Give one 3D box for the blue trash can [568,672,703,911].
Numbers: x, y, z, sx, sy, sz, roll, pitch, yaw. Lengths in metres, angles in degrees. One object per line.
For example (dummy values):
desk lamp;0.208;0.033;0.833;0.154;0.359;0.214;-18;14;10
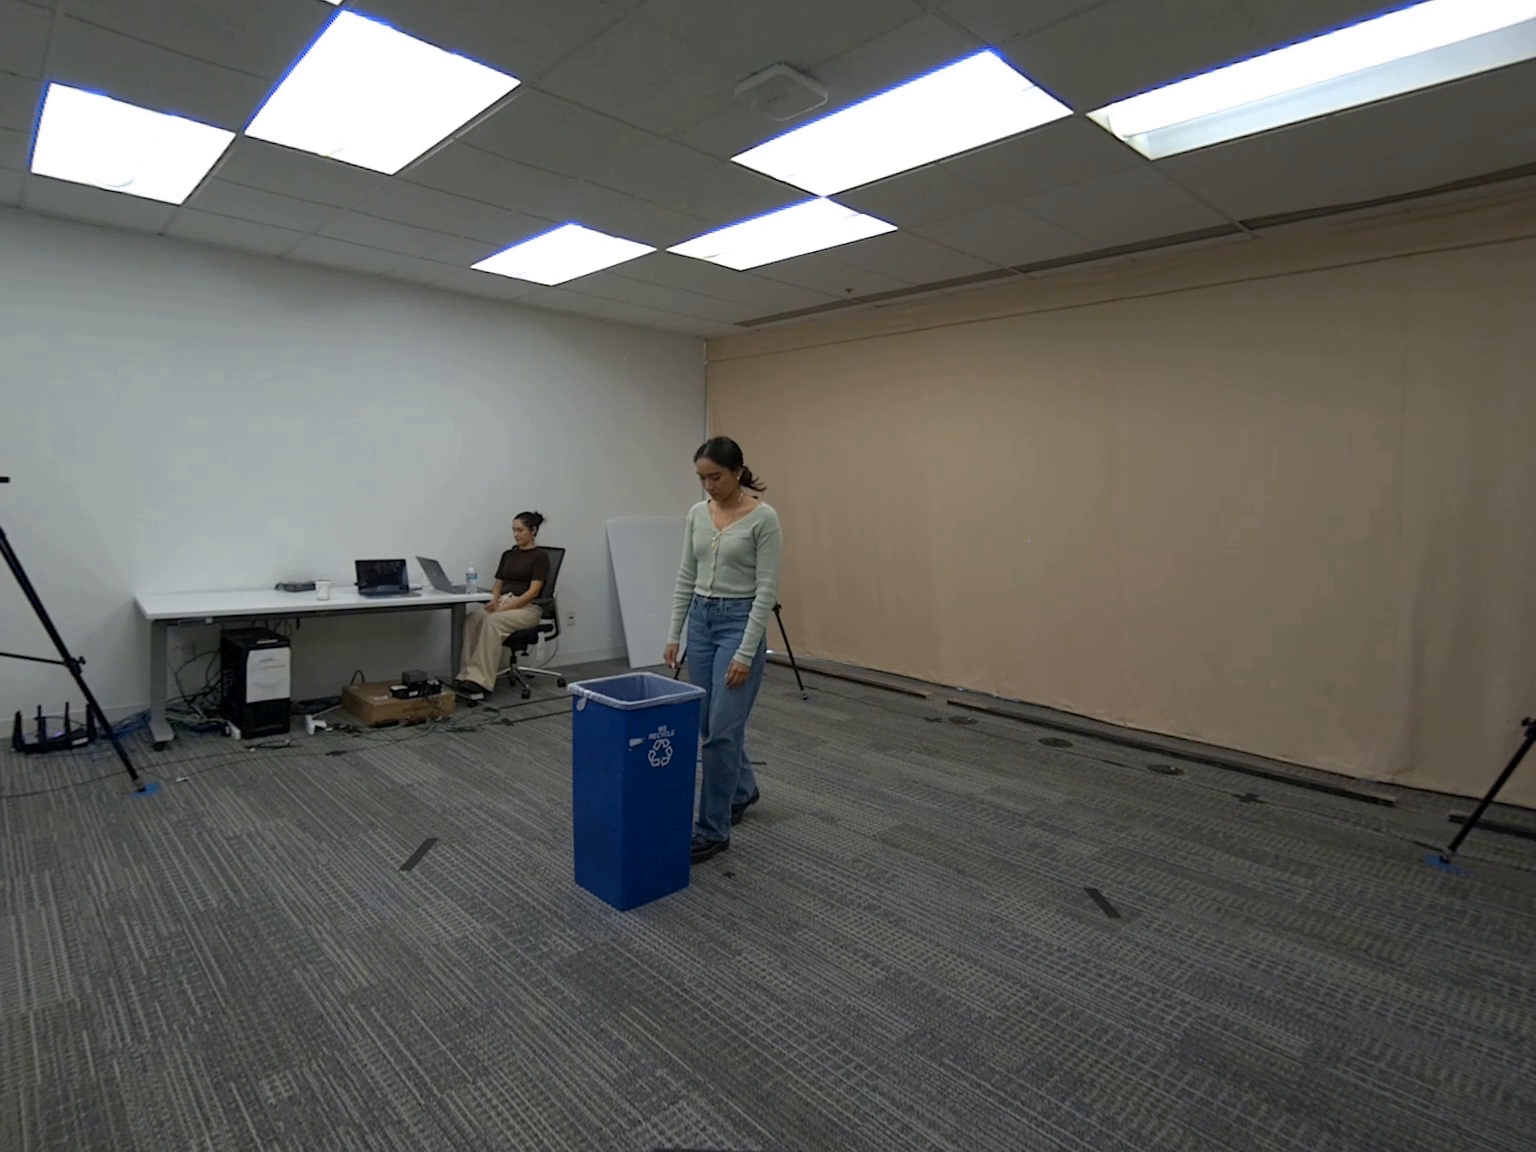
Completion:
blue trash can;-0.482;0.747;3.000;0.388;0.712;0.365;5;5;45
